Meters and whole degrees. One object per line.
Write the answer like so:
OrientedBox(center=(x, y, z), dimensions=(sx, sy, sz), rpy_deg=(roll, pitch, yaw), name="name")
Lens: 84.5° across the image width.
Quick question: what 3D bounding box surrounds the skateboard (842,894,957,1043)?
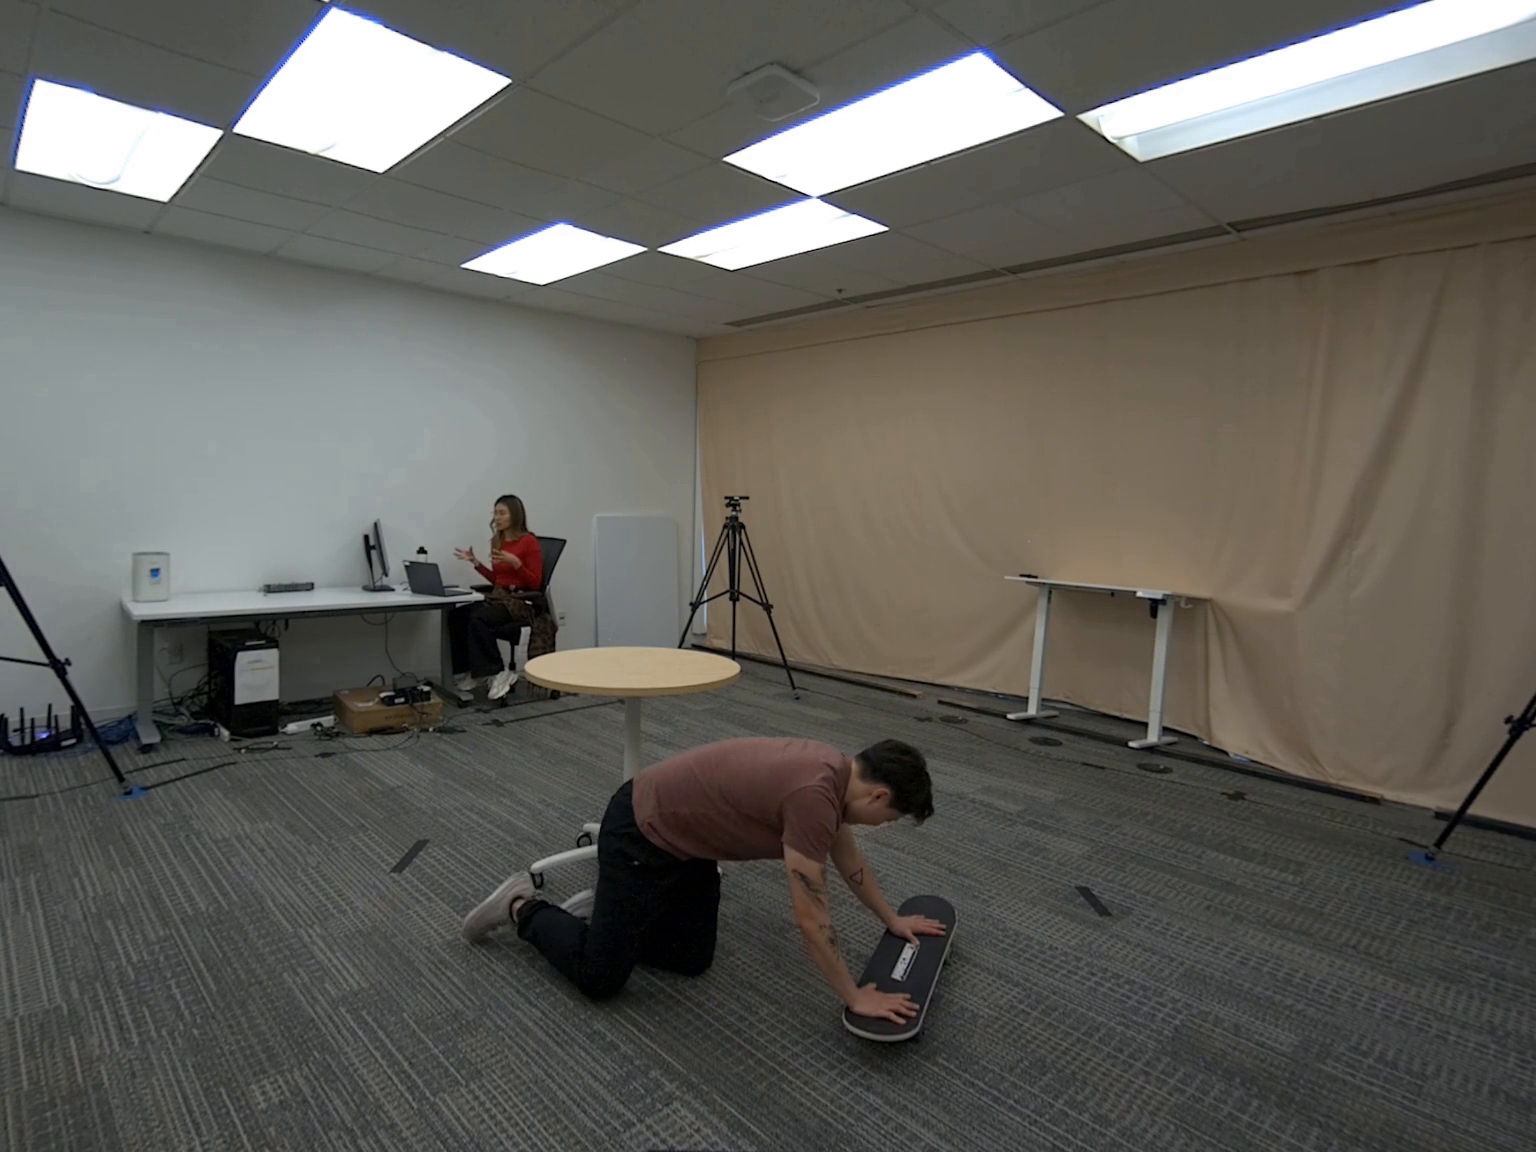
OrientedBox(center=(0.384, 1.127, 2.400), dimensions=(0.197, 0.110, 0.775), rpy_deg=(2, 6, 21), name="skateboard")
